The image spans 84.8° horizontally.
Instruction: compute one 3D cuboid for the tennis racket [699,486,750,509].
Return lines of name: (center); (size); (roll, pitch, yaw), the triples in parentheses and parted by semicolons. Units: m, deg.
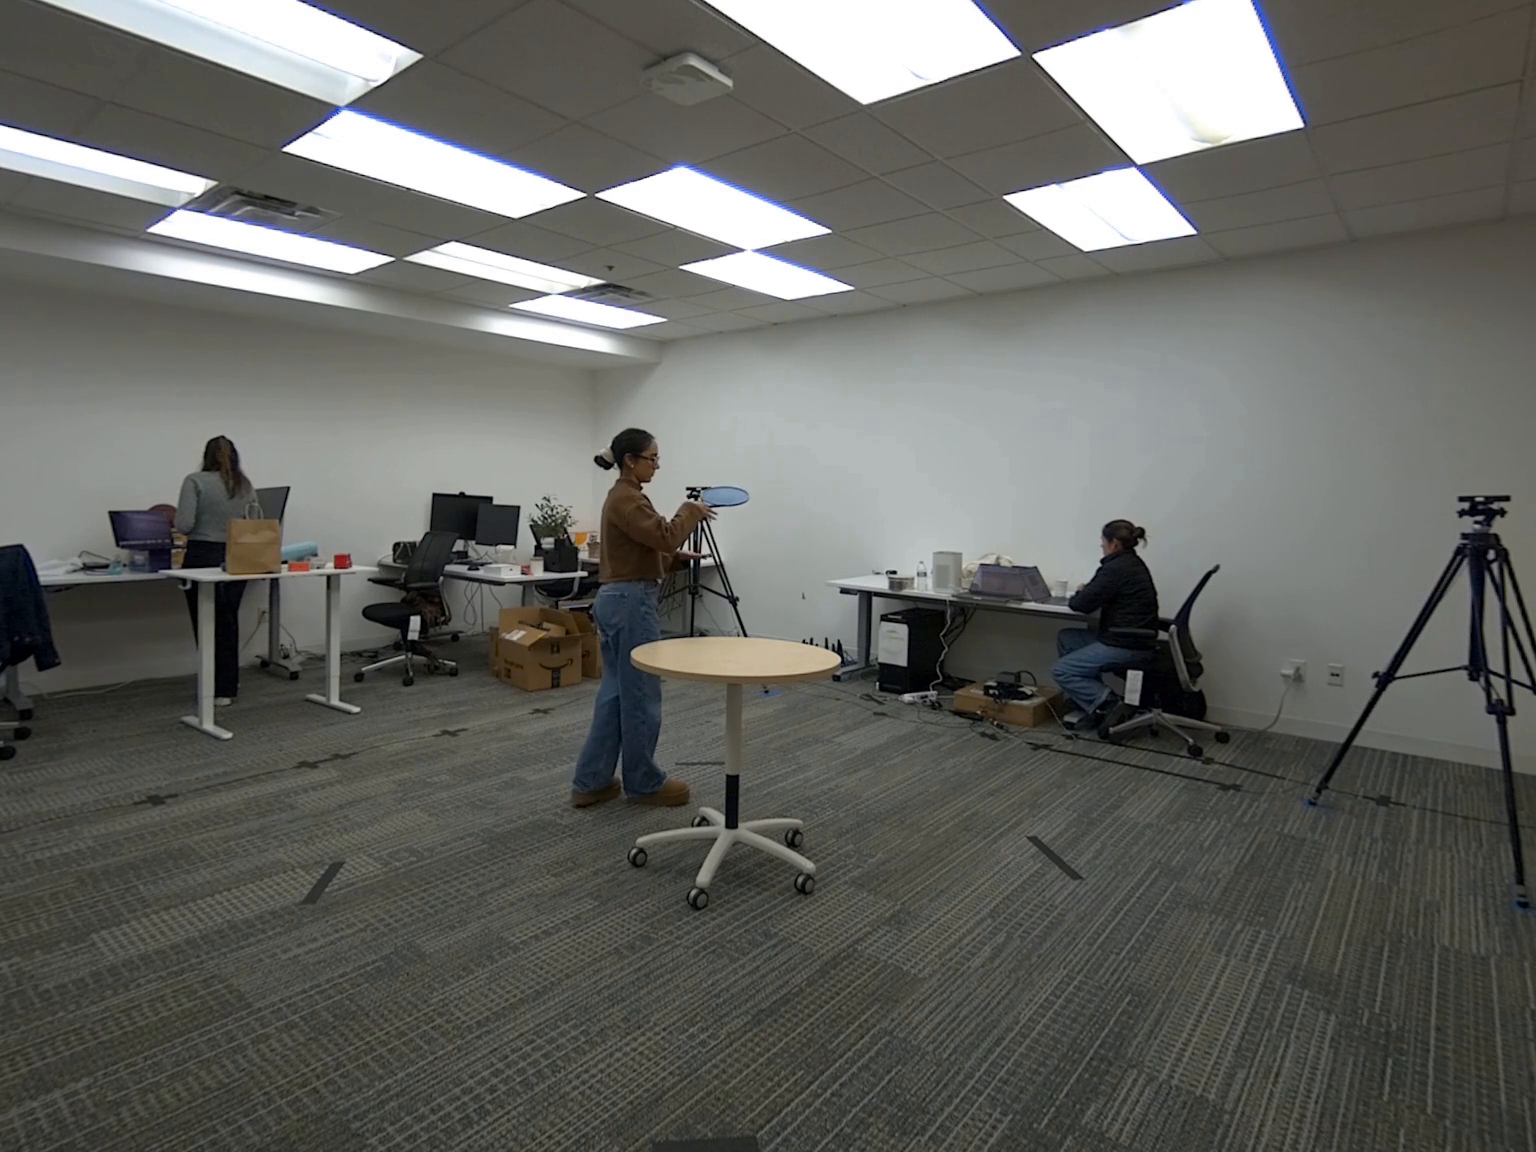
tennis racket: (-0.245, -0.337, 3.810); (0.219, 0.031, 0.429); (14, 25, 21)
